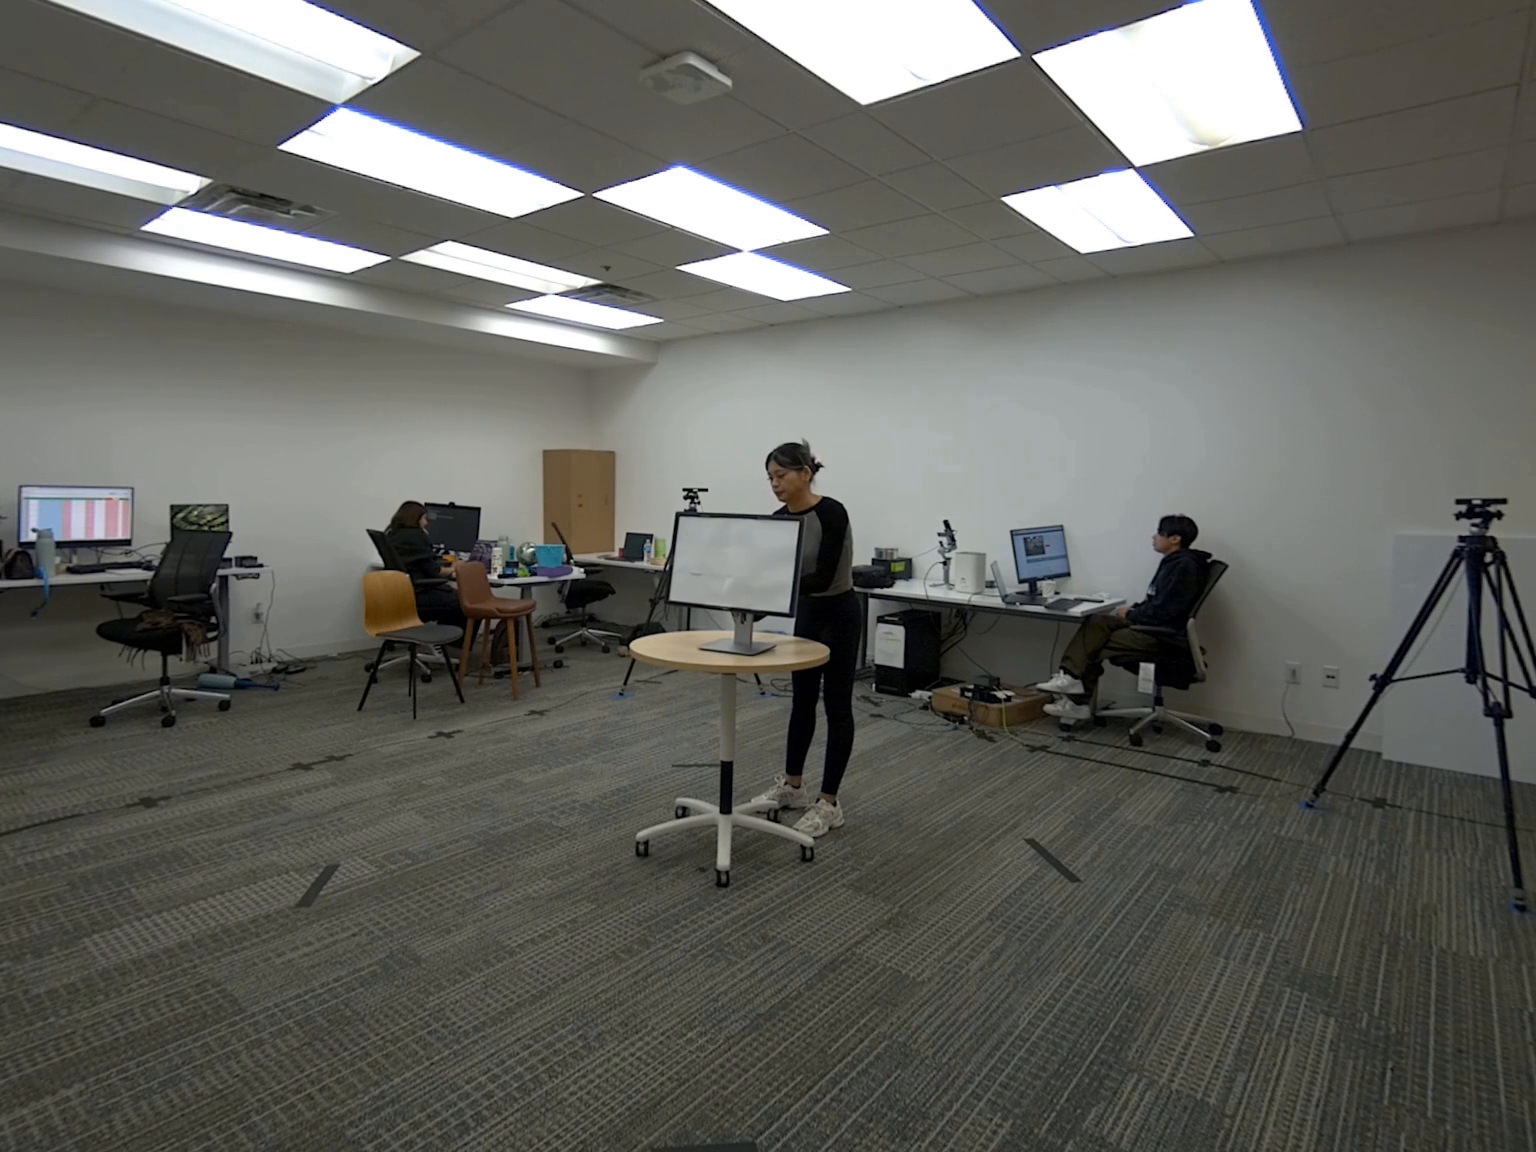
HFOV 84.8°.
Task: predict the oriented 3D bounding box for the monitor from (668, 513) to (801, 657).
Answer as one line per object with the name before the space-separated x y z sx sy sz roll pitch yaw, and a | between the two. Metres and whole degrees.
monitor | -0.126 0.023 3.187 0.546 0.511 0.171 5 12 31
